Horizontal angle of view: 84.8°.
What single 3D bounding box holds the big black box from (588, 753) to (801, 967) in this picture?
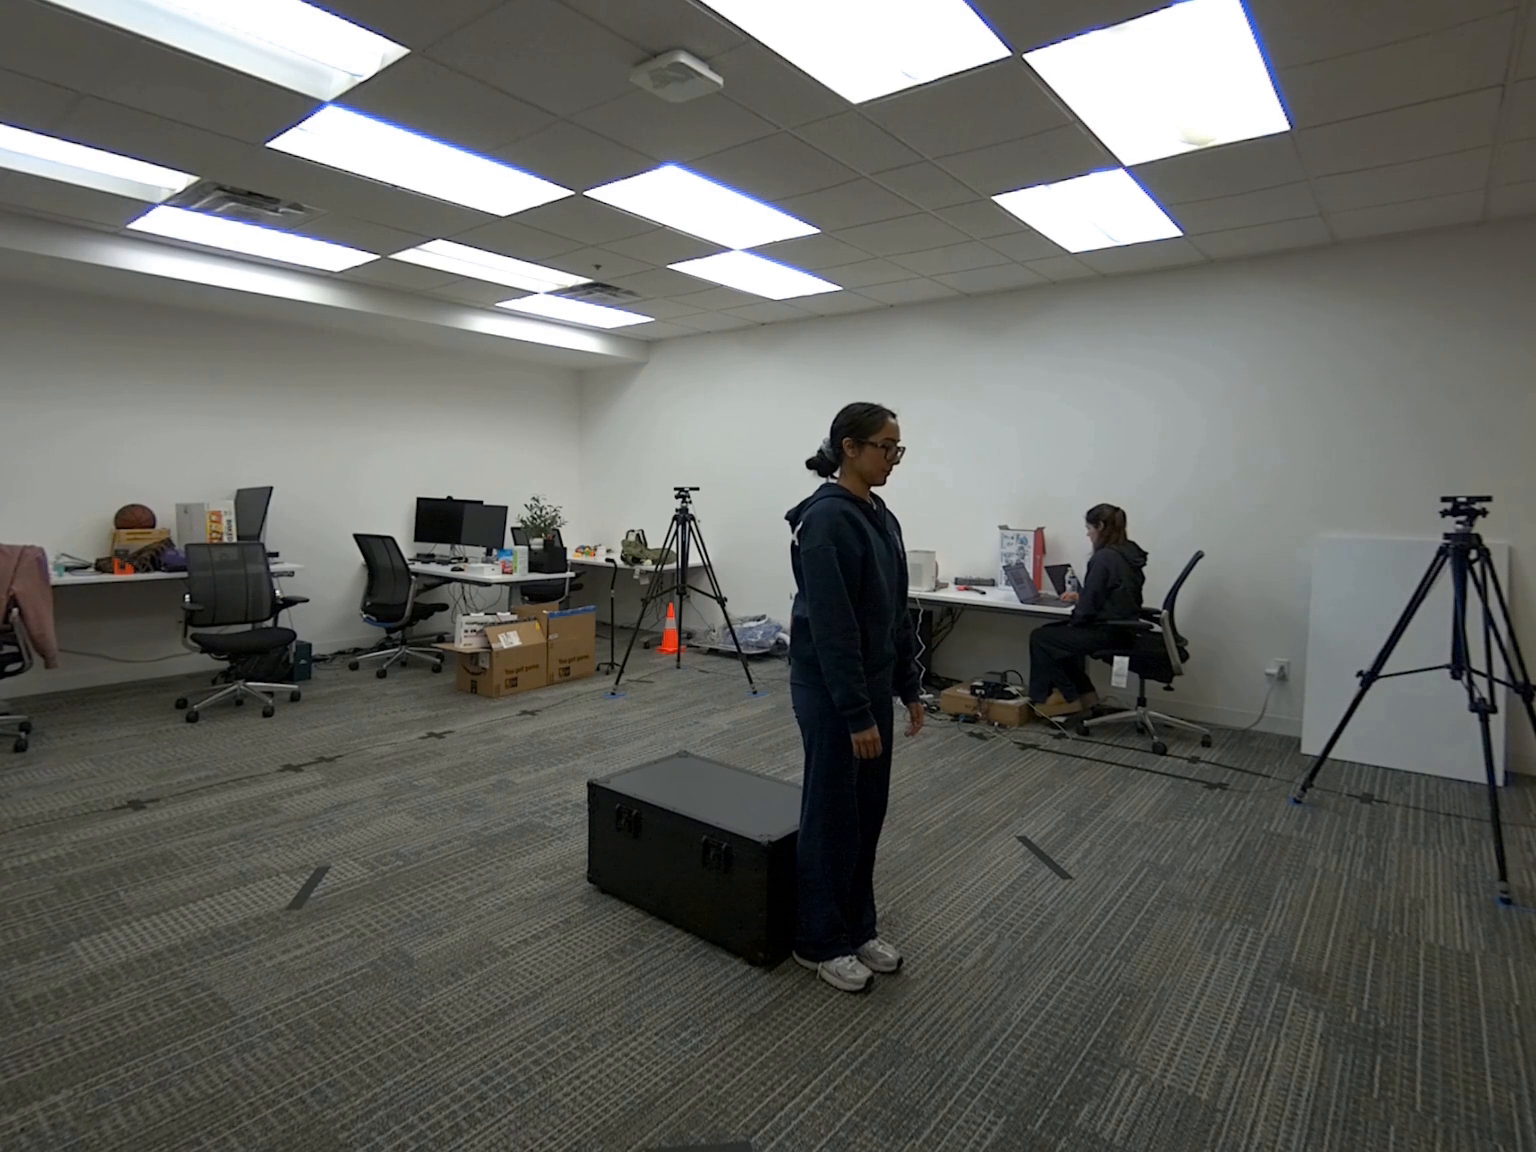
[{"bbox_3d":[-0.203,0.898,2.880,0.891,0.395,0.506,6,6,39],"label":"big black box"}]
